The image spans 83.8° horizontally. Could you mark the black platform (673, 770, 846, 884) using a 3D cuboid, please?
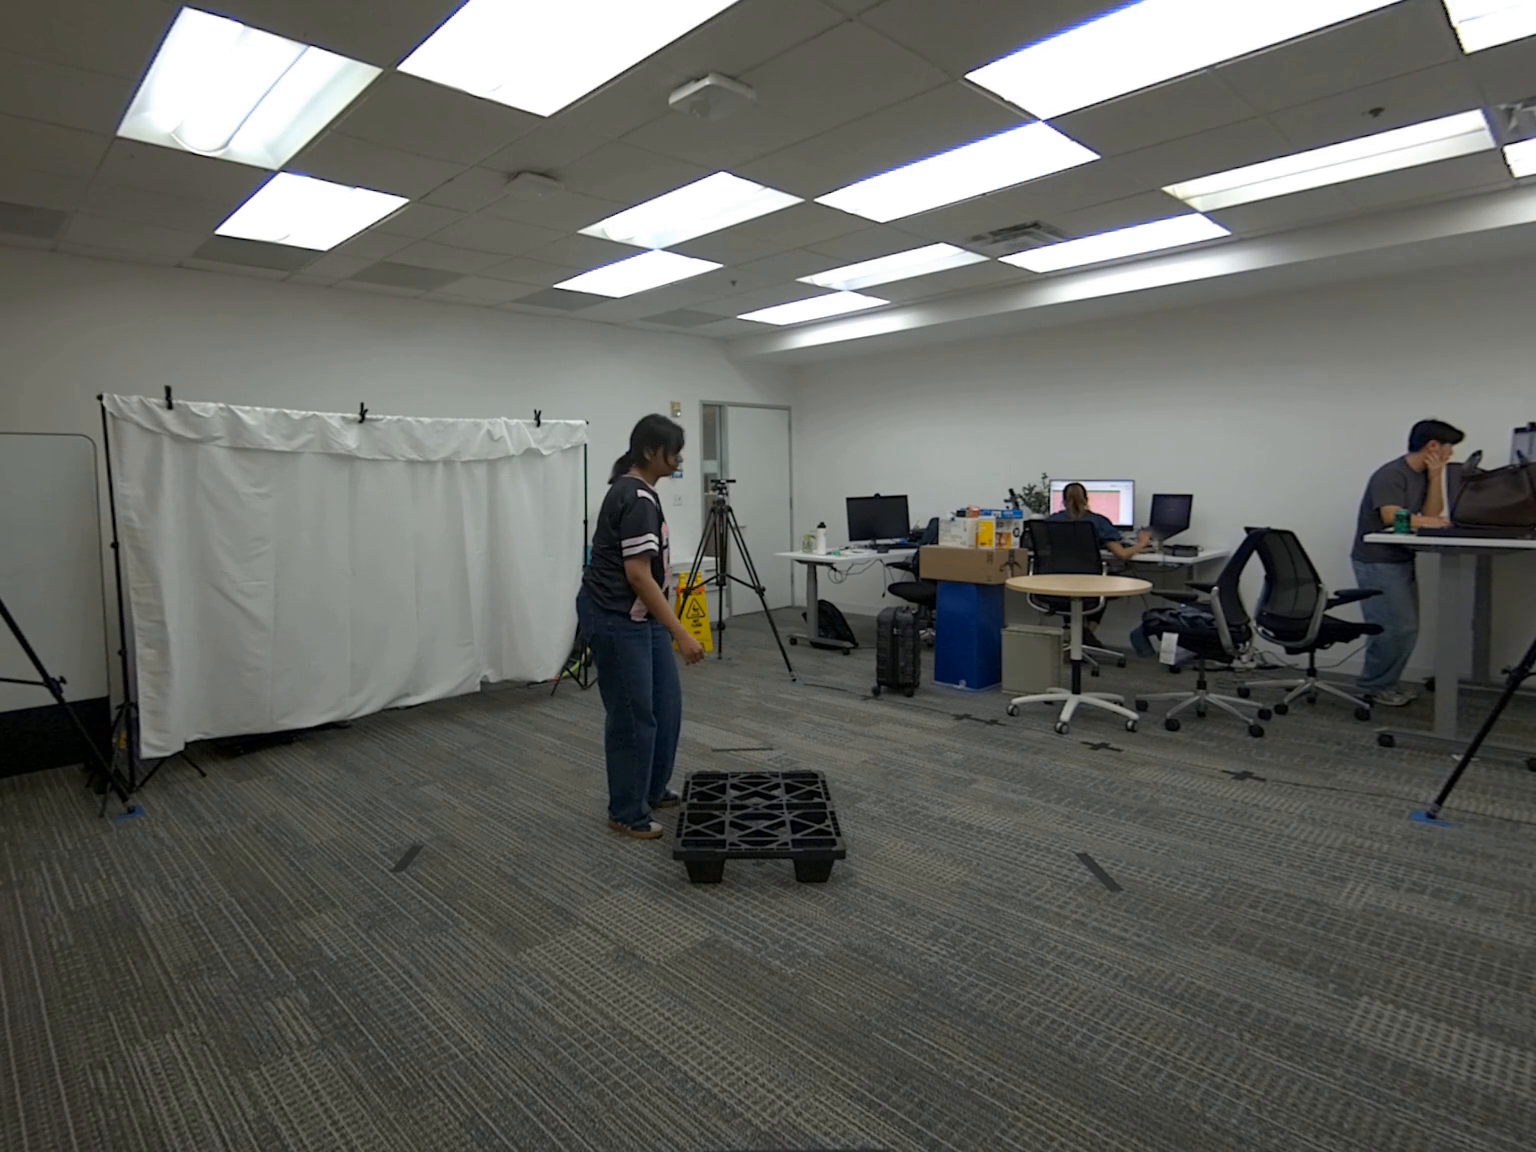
[{"bbox_3d":[-0.043,0.958,3.309,0.605,0.143,0.808,-2,6,0],"label":"black platform"}]
